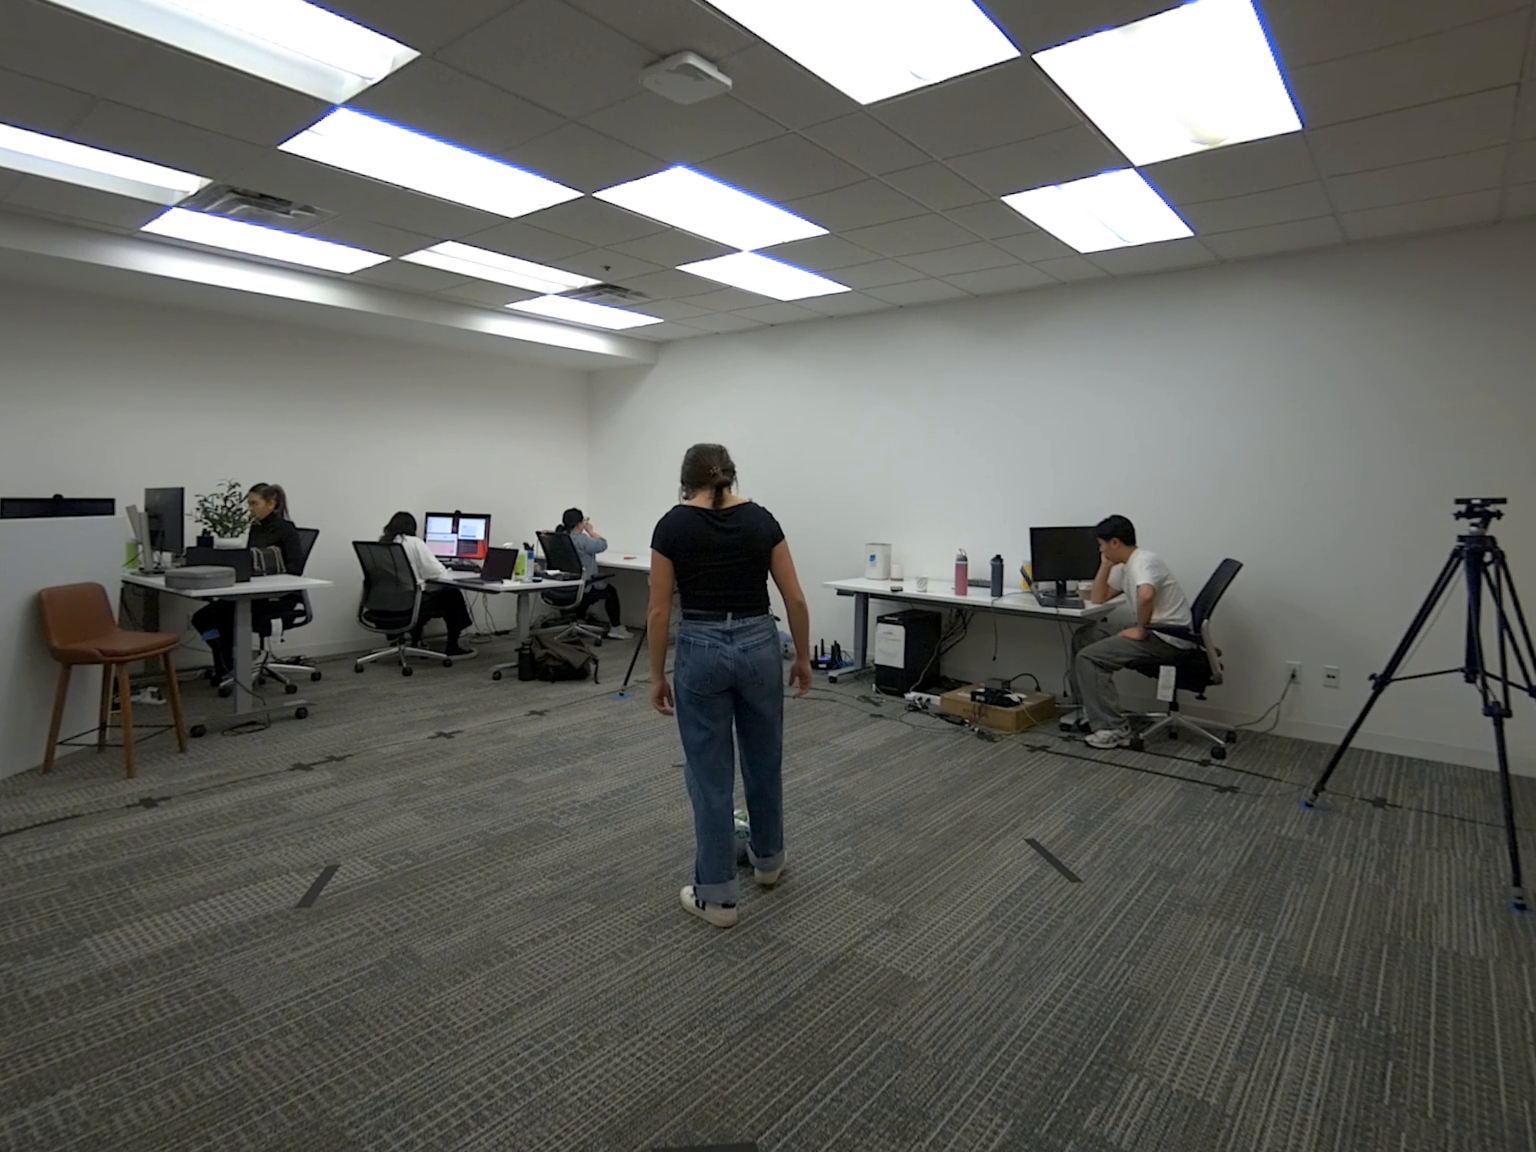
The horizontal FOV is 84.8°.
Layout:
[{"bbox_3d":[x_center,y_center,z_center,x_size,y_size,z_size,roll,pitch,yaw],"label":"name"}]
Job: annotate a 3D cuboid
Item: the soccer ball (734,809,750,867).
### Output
[{"bbox_3d":[-0.105,0.960,3.184,0.187,0.187,0.188,1,4,-2],"label":"soccer ball"}]
